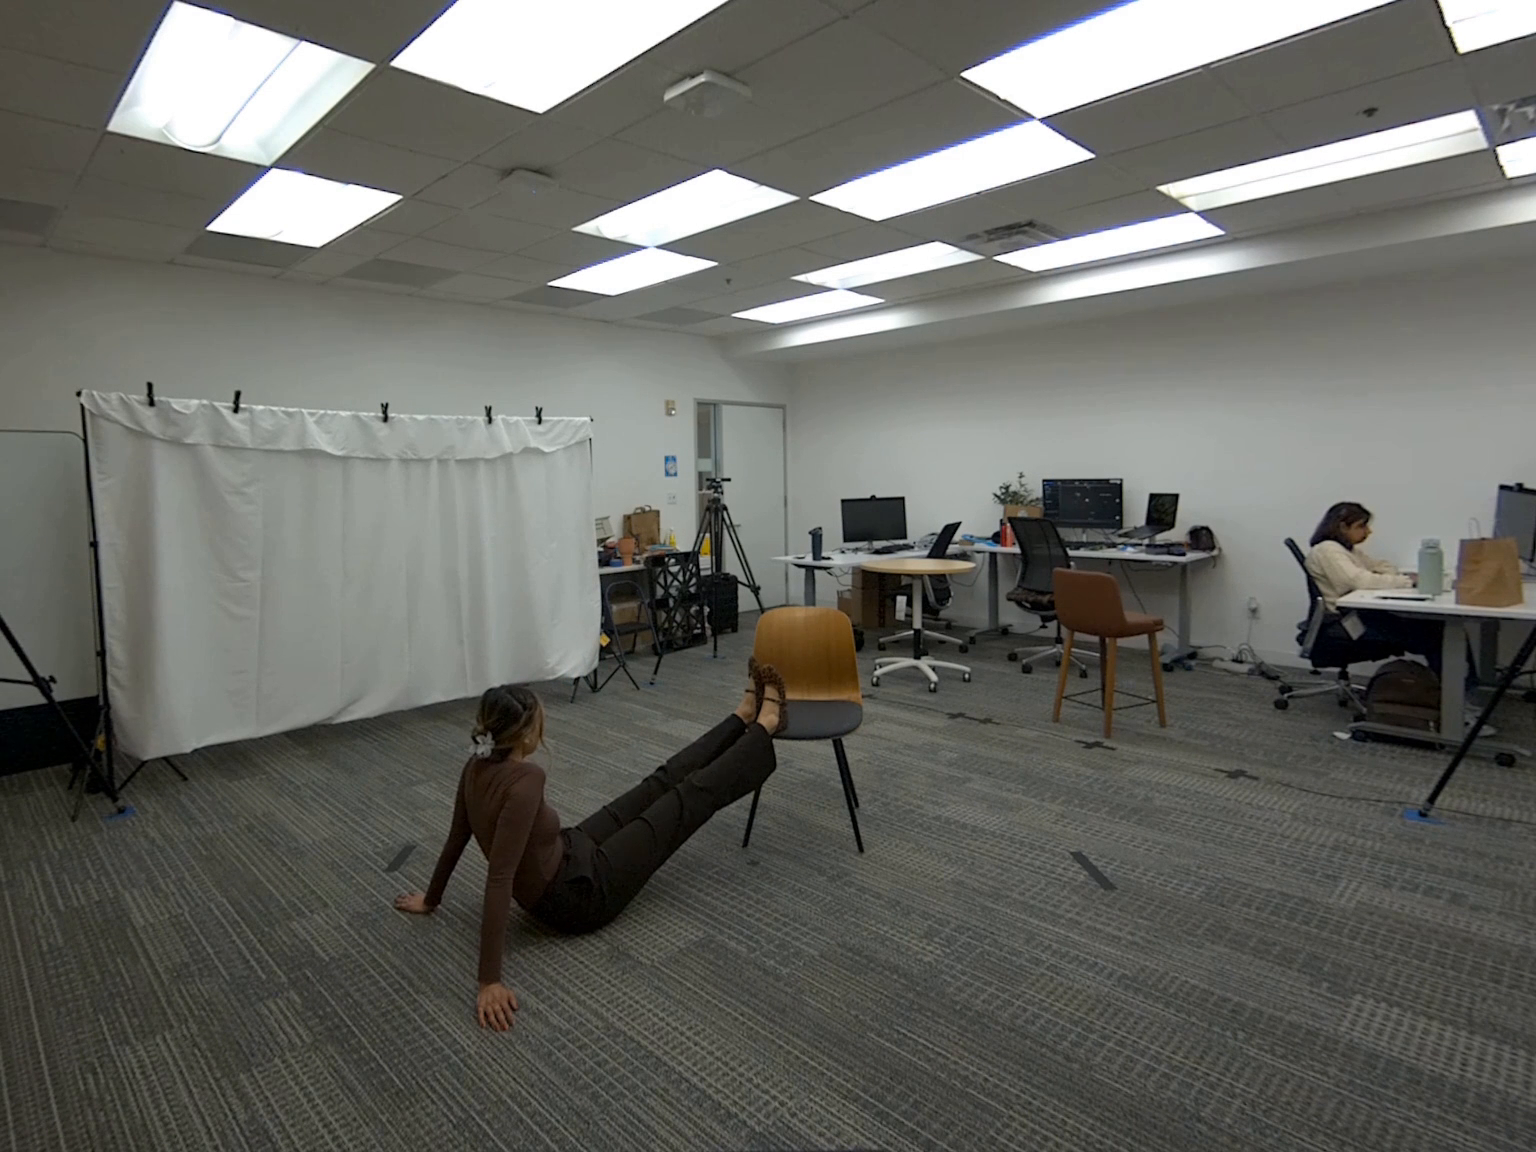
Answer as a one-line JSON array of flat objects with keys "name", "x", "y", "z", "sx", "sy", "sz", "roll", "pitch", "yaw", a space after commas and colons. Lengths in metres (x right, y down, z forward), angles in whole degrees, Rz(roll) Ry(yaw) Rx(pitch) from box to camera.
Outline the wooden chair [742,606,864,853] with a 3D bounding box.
[{"name": "wooden chair", "x": 0.140, "y": 0.580, "z": 3.388, "sx": 0.481, "sy": 0.877, "sz": 0.519, "roll": 0, "pitch": 0, "yaw": 6}]
